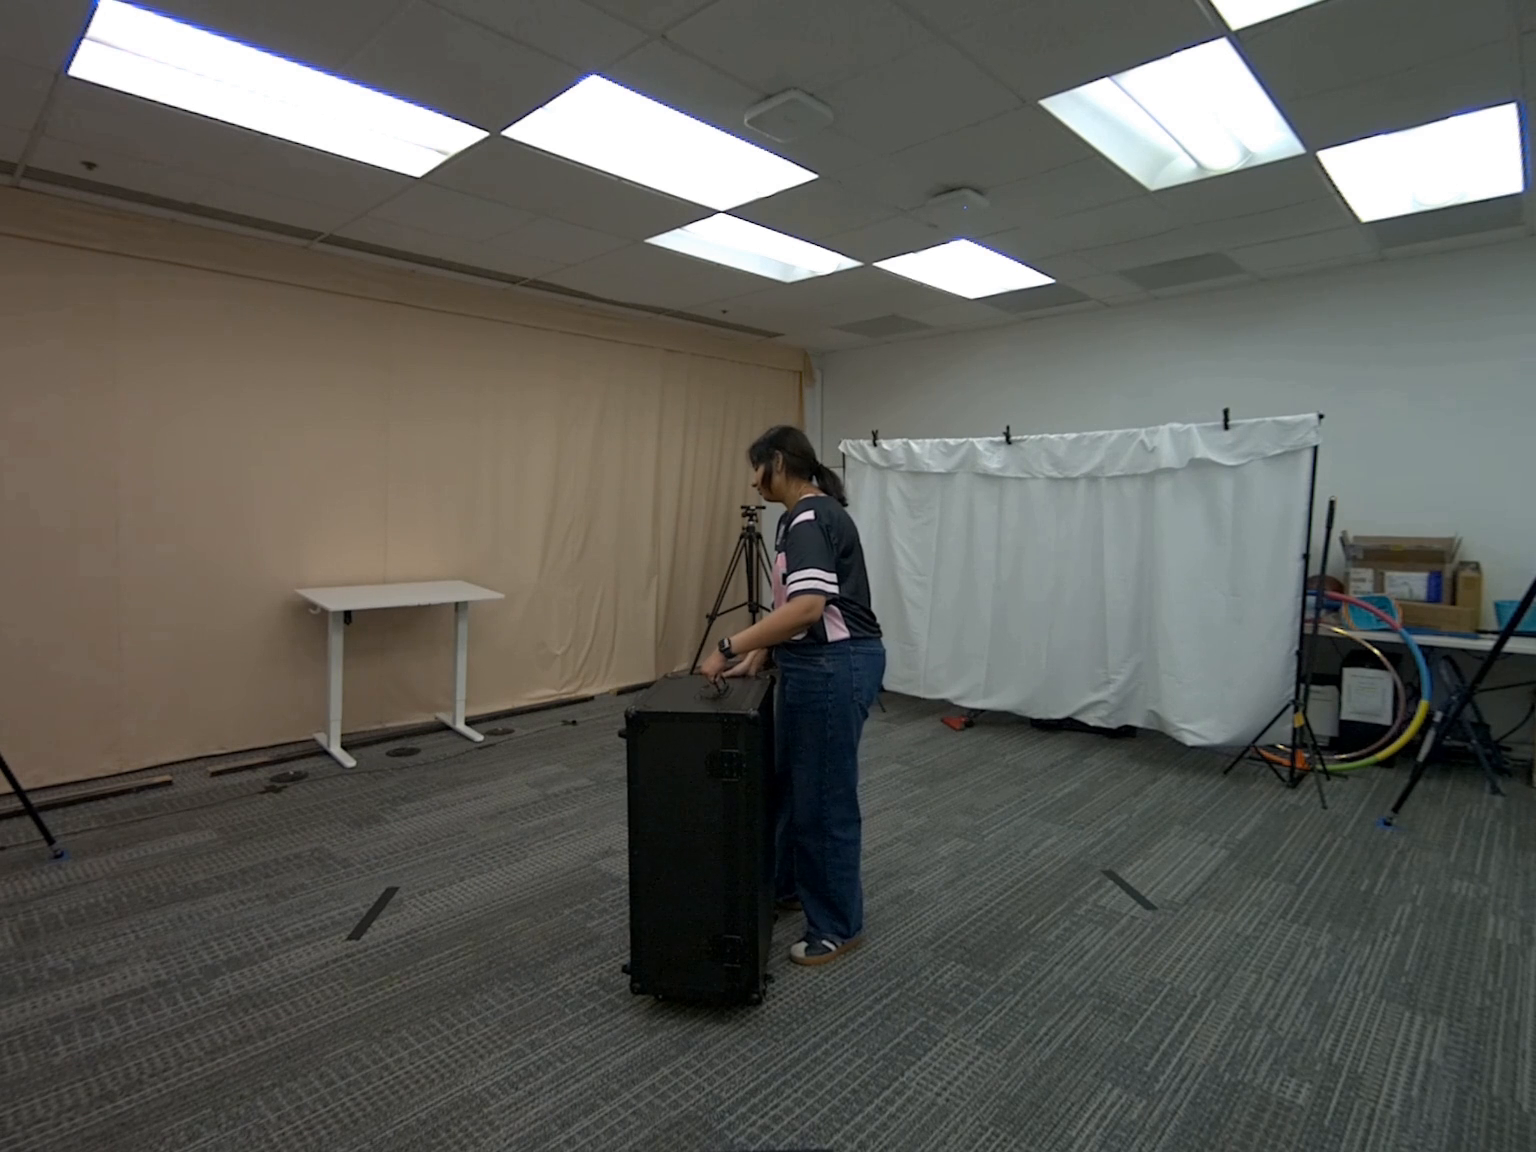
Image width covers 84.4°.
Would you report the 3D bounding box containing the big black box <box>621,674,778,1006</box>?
[{"bbox_3d":[-0.187,0.766,2.465,0.388,0.867,0.520,-1,3,6],"label":"big black box"}]
